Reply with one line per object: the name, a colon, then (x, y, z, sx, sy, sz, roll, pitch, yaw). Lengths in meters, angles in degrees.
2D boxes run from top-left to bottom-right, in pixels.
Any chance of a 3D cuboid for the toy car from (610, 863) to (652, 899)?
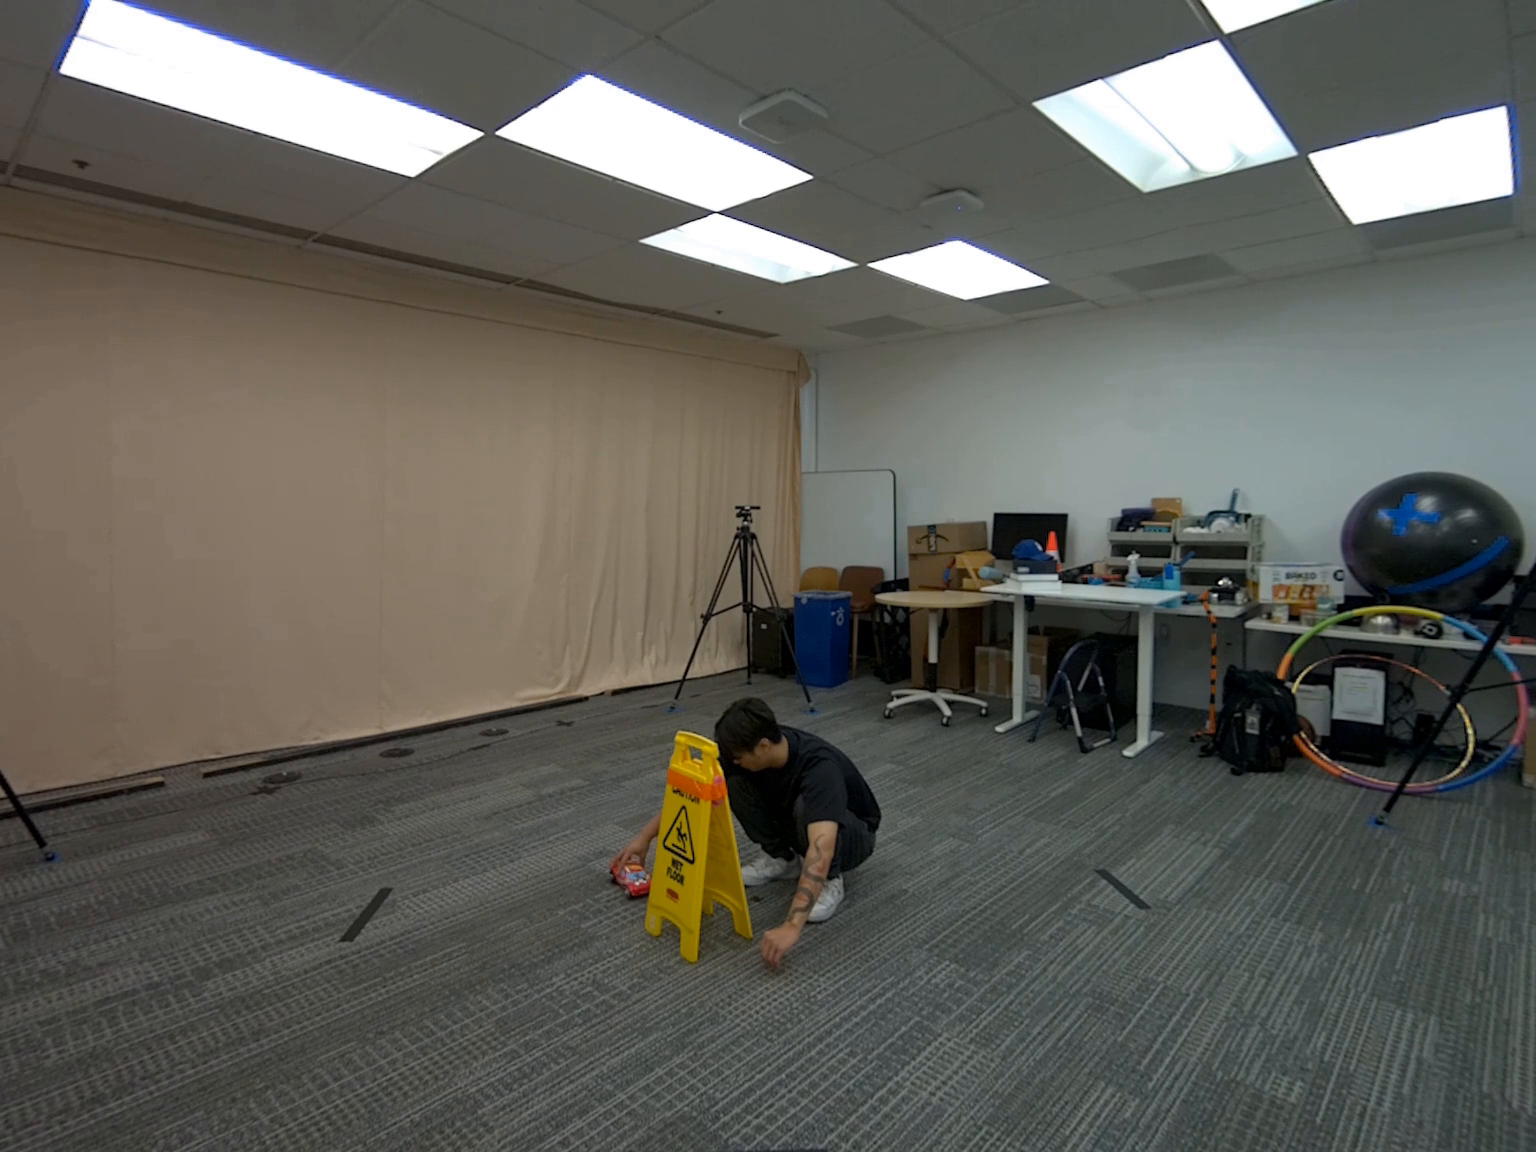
toy car: (-0.495, 1.109, 3.096, 0.127, 0.082, 0.263, -3, 15, -30)
